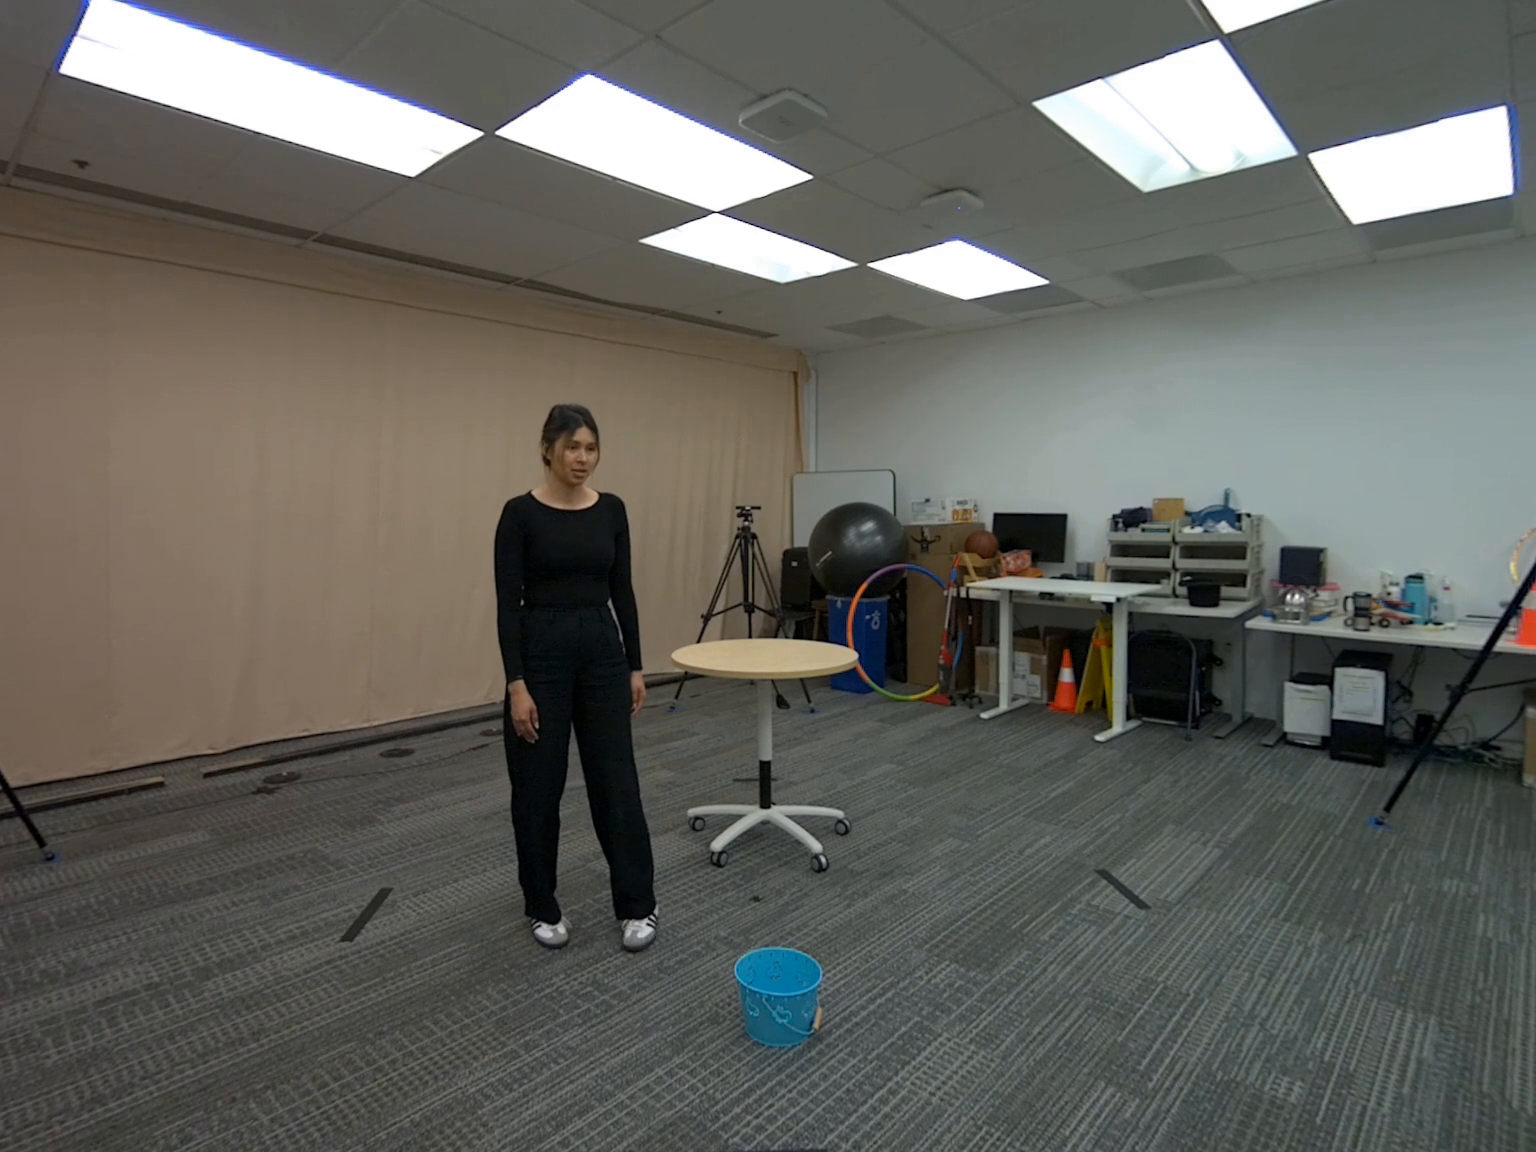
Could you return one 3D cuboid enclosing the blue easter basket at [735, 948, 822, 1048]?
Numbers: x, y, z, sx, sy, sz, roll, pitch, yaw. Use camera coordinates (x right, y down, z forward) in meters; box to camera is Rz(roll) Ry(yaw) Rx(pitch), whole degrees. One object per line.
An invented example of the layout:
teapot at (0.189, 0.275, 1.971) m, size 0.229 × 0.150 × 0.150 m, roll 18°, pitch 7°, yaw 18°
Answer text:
blue easter basket at (0.038, 1.129, 2.245) m, size 0.243 × 0.155 × 0.244 m, roll 0°, pitch 4°, yaw -2°
